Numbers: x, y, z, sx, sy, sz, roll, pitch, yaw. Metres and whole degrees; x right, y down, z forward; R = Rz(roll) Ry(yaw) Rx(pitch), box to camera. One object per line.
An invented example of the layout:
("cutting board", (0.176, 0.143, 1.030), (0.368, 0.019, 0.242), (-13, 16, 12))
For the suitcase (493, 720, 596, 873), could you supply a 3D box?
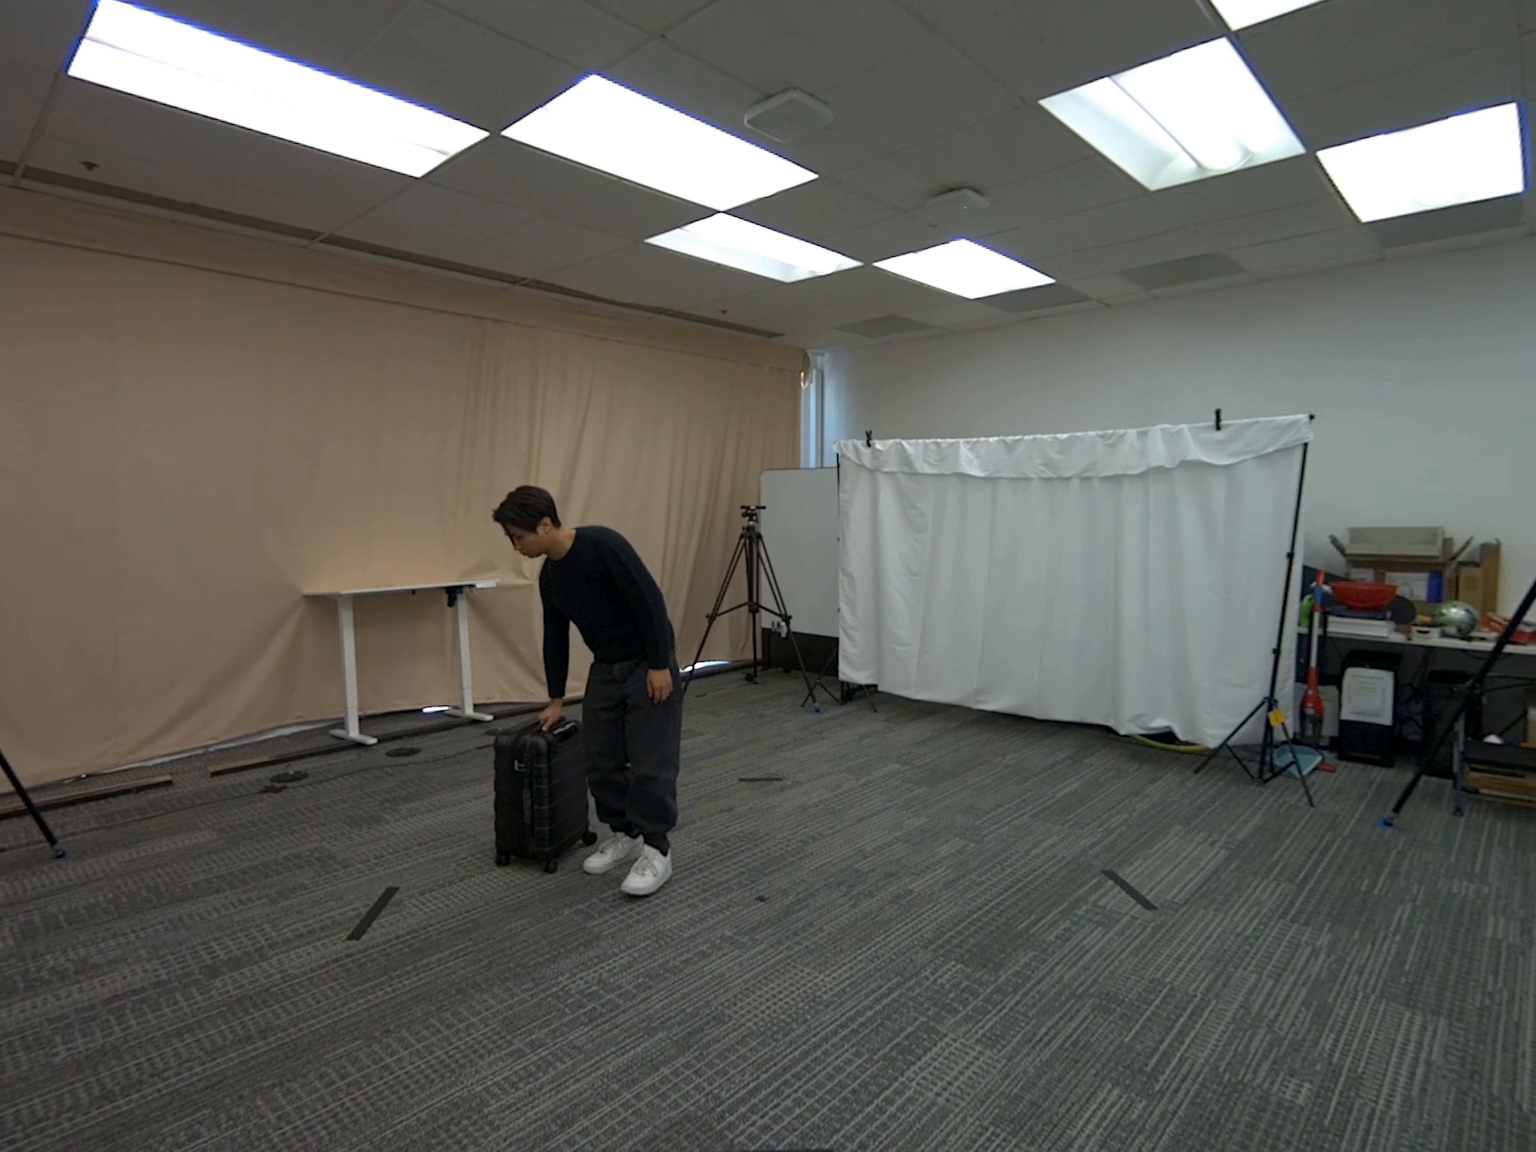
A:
("suitcase", (-0.905, 0.848, 3.359), (0.253, 0.548, 0.369), (0, 4, 18))
